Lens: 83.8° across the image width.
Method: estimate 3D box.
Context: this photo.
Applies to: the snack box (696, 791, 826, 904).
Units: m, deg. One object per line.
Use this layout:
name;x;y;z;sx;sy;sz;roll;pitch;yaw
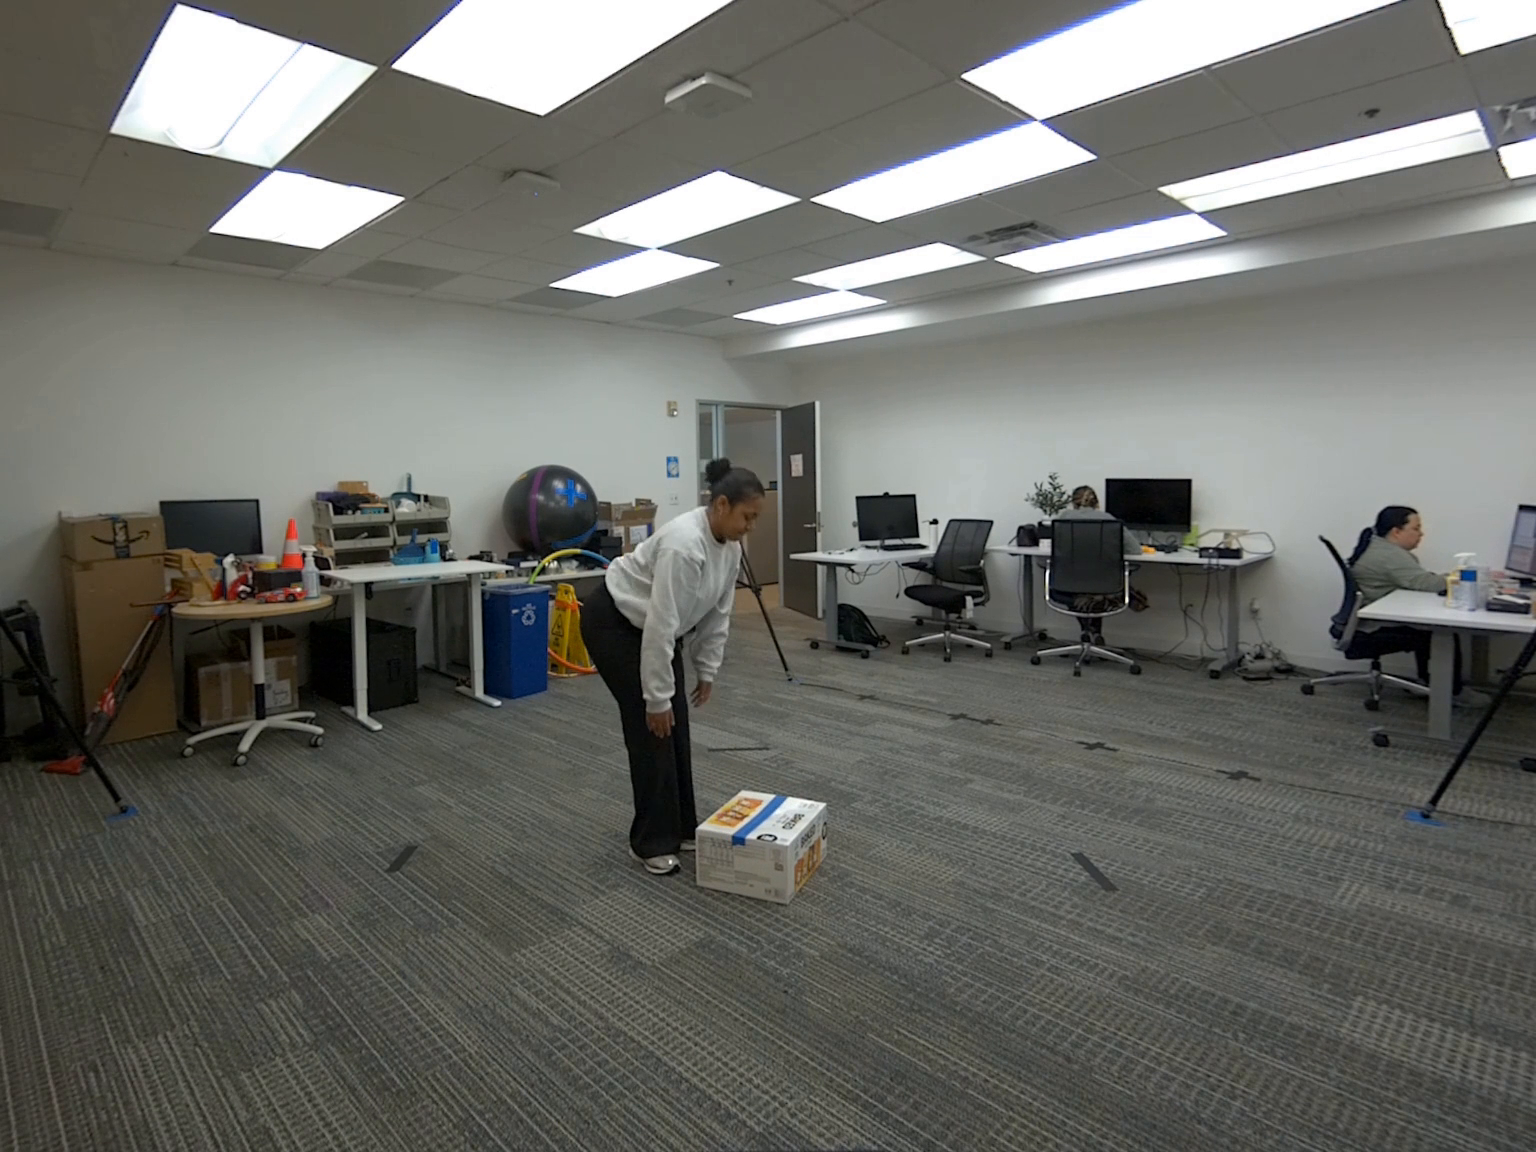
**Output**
snack box;-0.012;0.951;3.035;0.348;0.205;0.398;1;6;24
